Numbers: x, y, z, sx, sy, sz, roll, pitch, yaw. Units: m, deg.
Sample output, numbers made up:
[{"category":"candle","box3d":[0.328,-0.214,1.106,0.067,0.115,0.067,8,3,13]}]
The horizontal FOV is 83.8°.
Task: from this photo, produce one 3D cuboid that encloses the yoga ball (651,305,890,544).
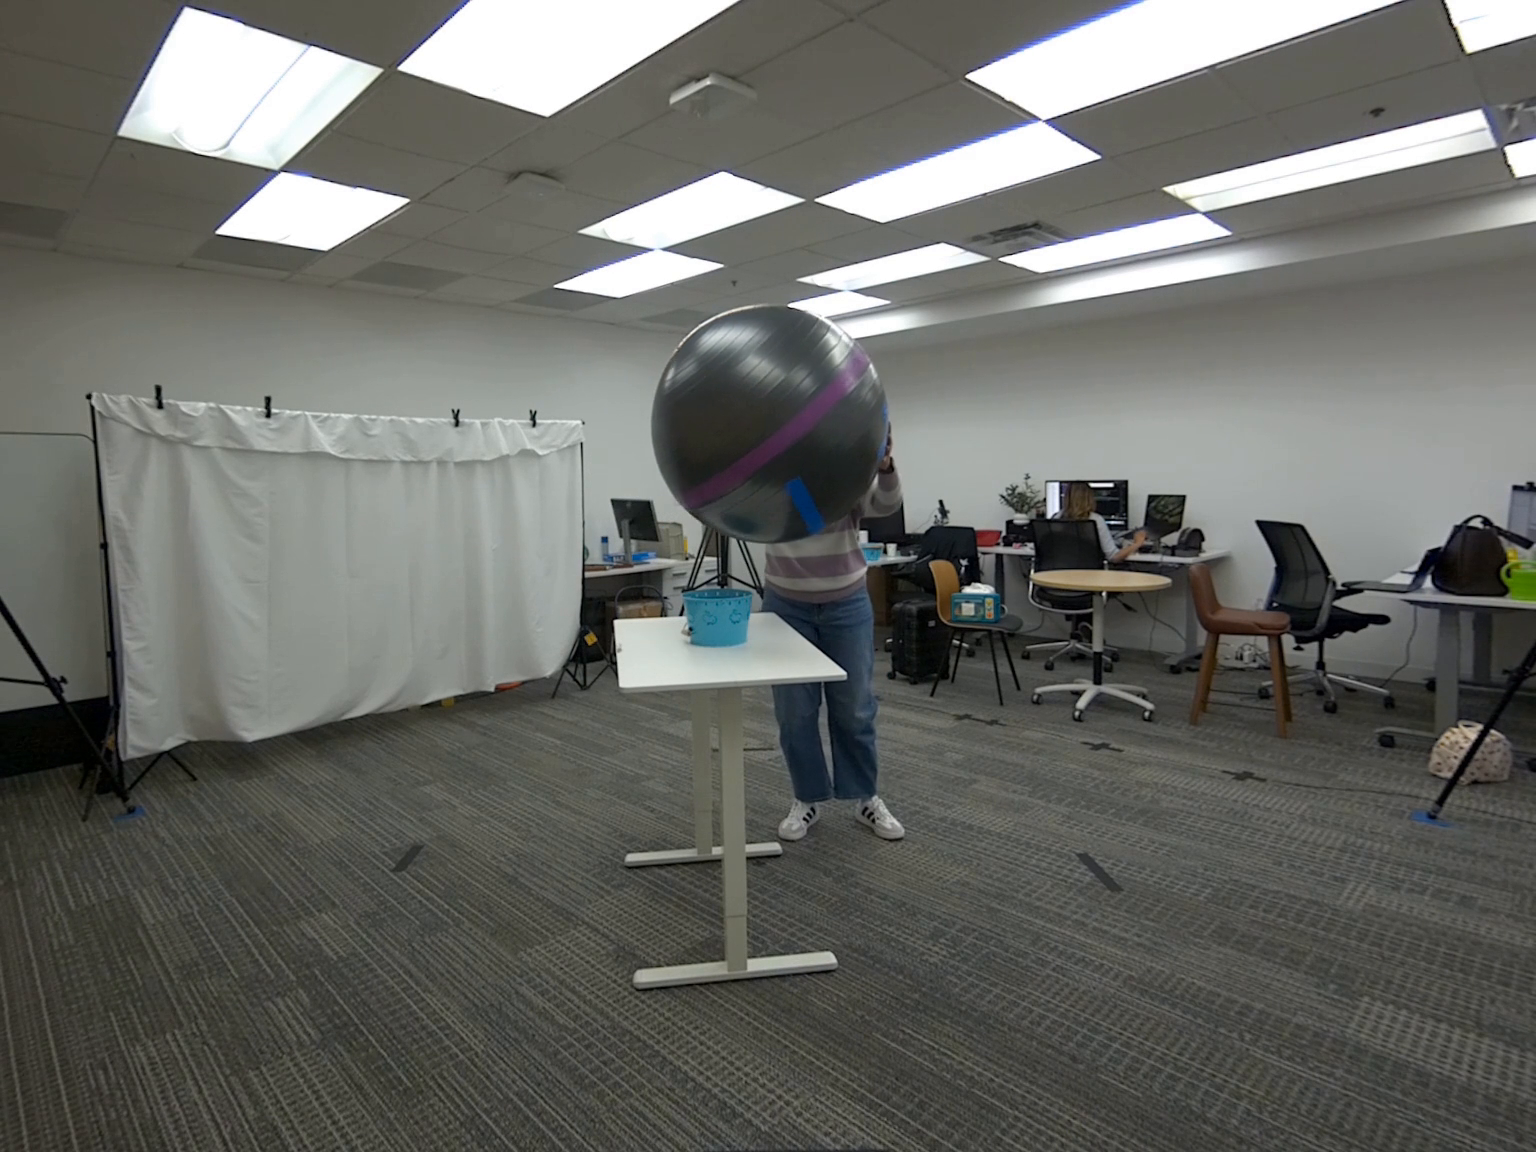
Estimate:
[{"category":"yoga ball","box3d":[0.007,-0.476,2.747,0.757,0.755,0.762,-1,5,-2]}]
